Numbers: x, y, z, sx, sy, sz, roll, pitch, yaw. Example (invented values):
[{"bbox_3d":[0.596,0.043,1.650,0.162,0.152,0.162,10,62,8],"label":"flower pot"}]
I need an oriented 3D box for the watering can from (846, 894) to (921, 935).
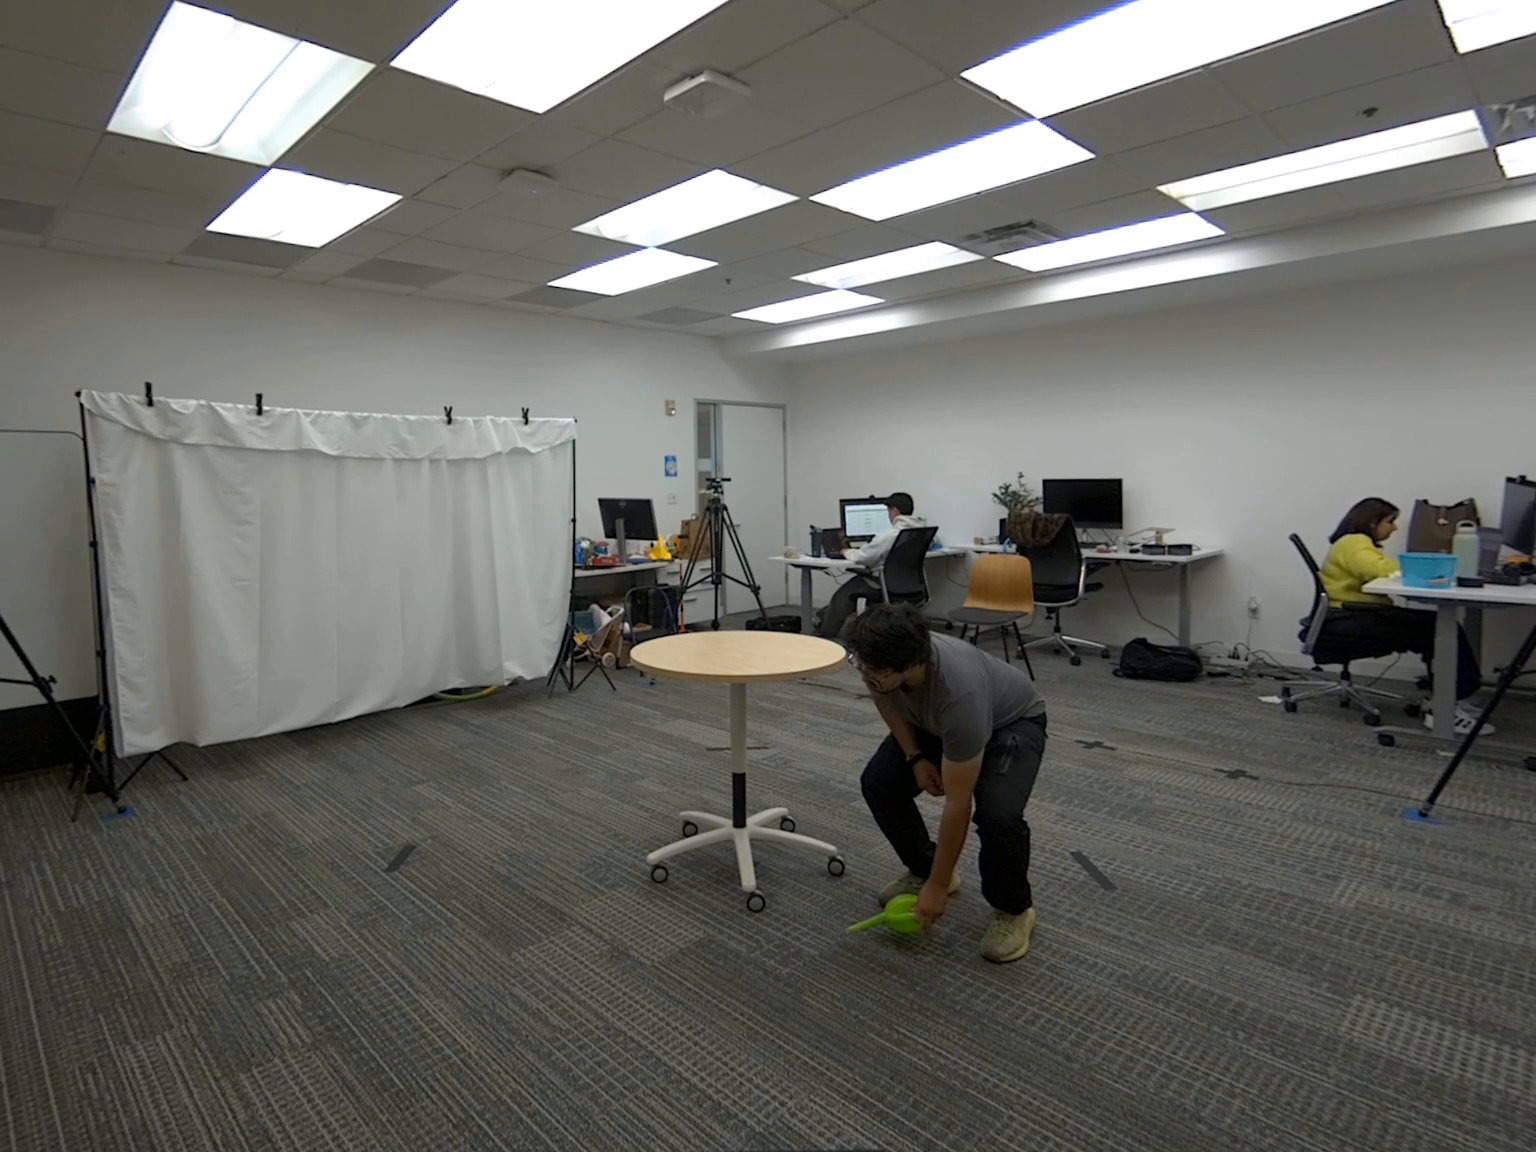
[{"bbox_3d":[0.385,1.015,2.552,0.280,0.099,0.173,2,-14,8],"label":"watering can"}]
